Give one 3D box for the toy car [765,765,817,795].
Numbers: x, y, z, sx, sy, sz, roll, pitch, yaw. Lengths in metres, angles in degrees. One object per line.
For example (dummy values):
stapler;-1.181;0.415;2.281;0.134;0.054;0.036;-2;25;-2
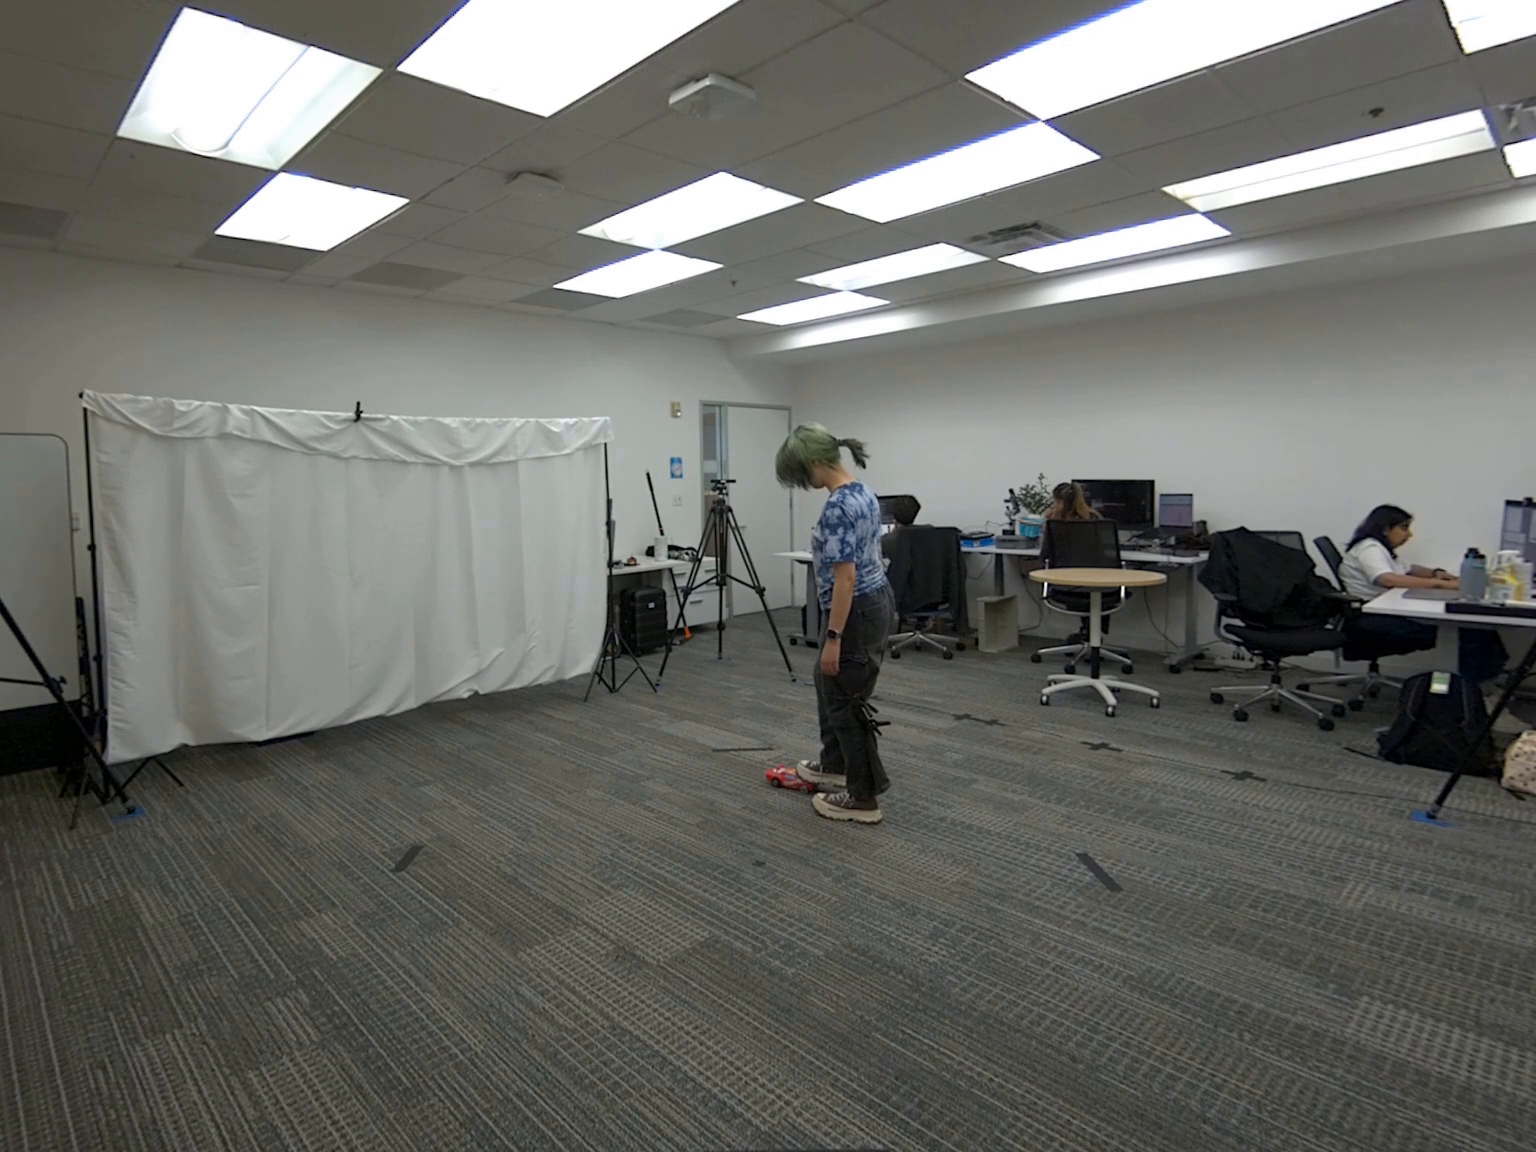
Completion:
toy car;0.103;0.927;3.890;0.263;0.082;0.127;18;15;32
